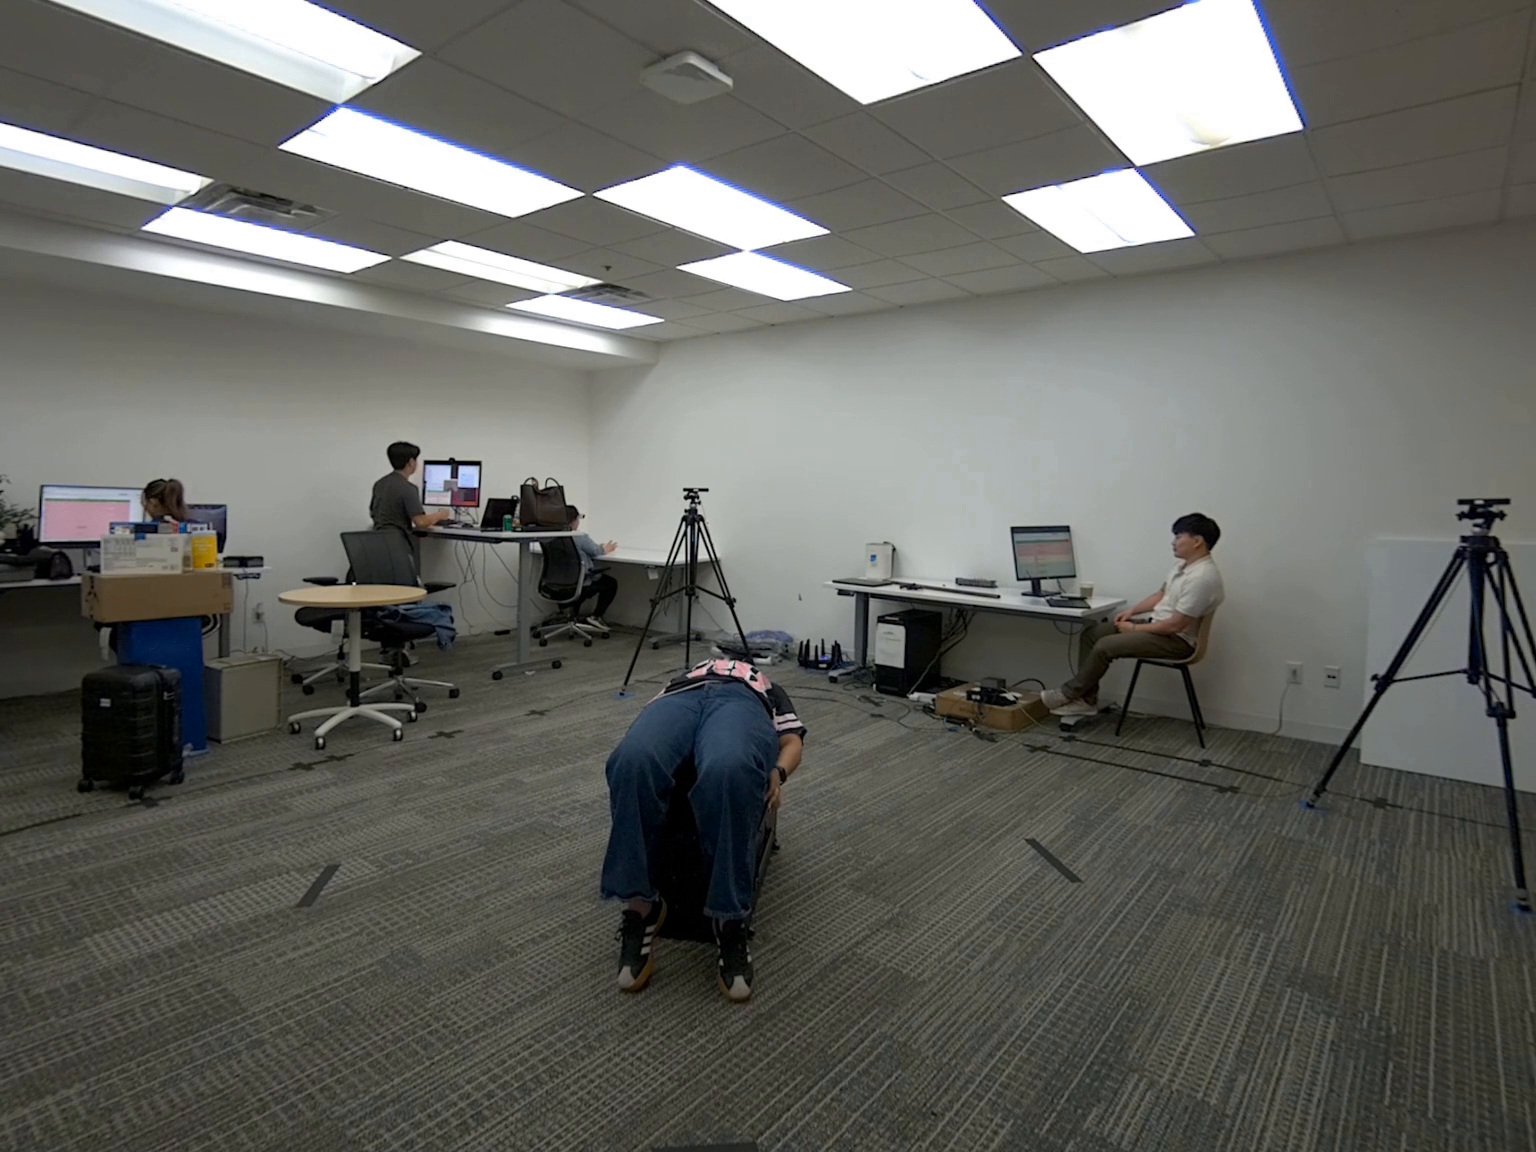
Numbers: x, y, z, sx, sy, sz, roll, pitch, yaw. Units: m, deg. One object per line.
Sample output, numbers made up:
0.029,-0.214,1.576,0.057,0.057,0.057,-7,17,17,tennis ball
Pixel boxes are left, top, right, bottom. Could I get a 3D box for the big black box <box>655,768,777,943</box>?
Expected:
-0.187,0.822,3.010,0.389,0.522,0.862,0,4,9,big black box
